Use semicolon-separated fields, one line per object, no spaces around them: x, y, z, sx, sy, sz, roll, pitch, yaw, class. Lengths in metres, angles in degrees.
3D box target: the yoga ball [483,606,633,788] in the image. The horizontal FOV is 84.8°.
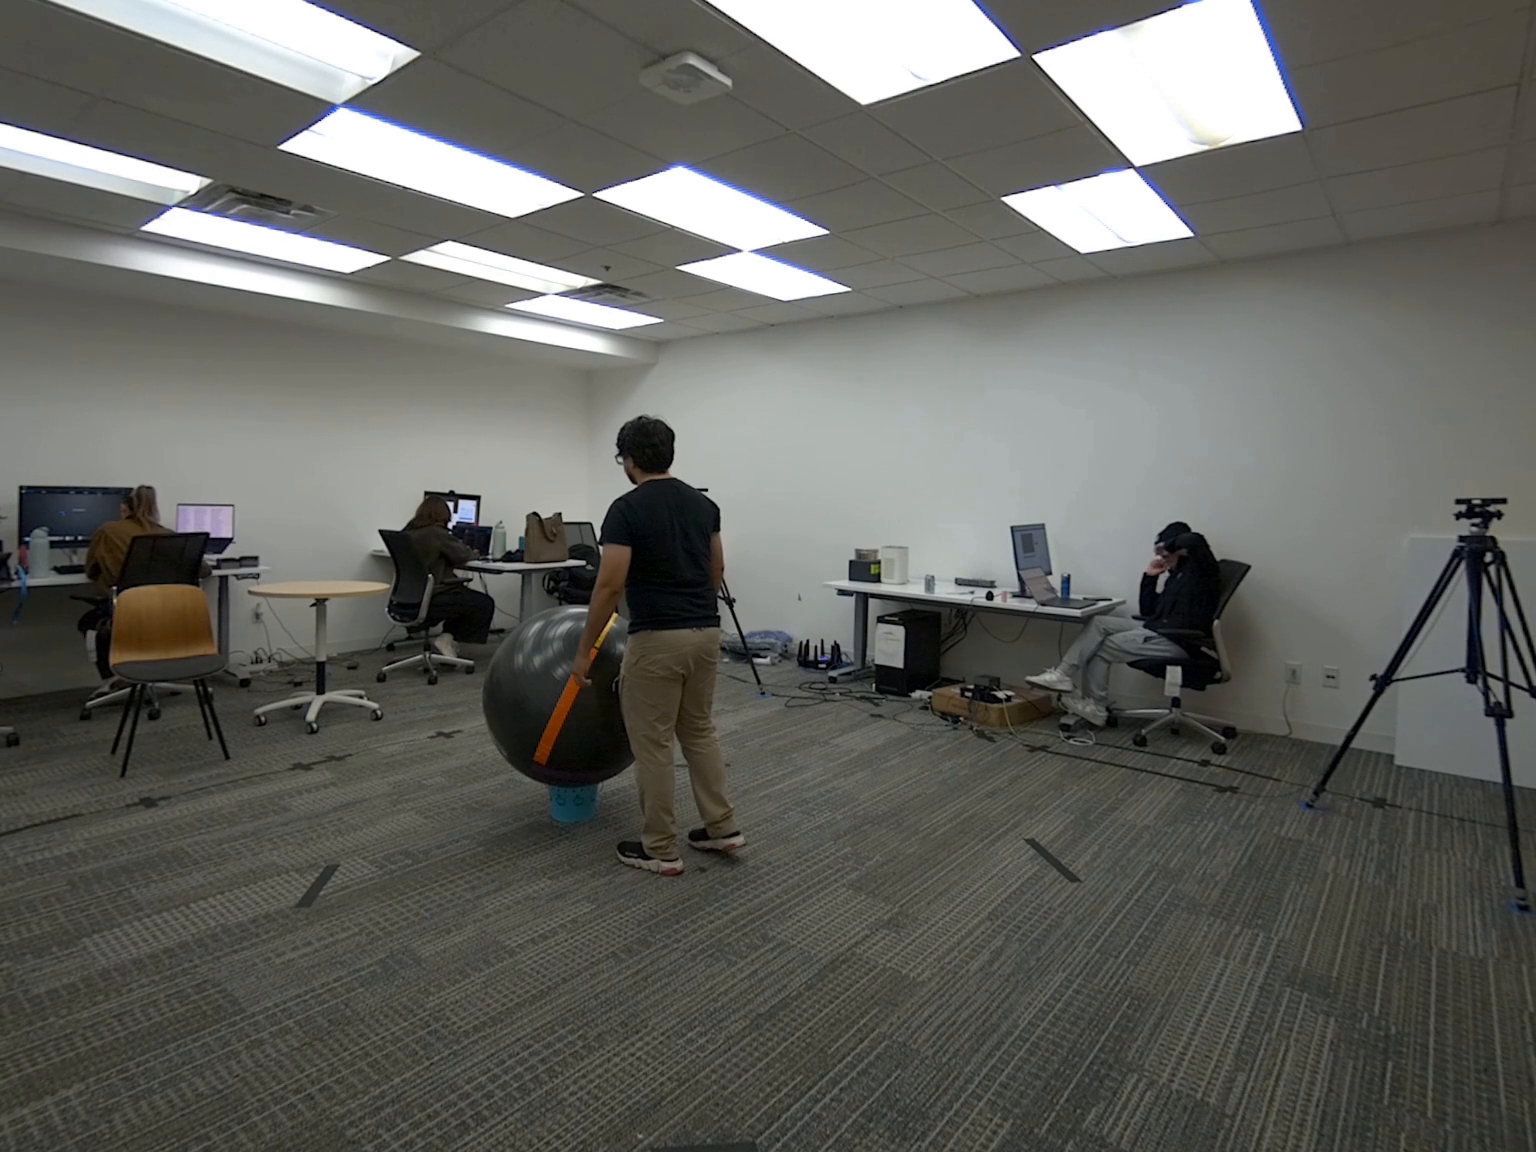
-0.827;0.504;3.603;0.757;0.755;0.762;1;4;-2;yoga ball
